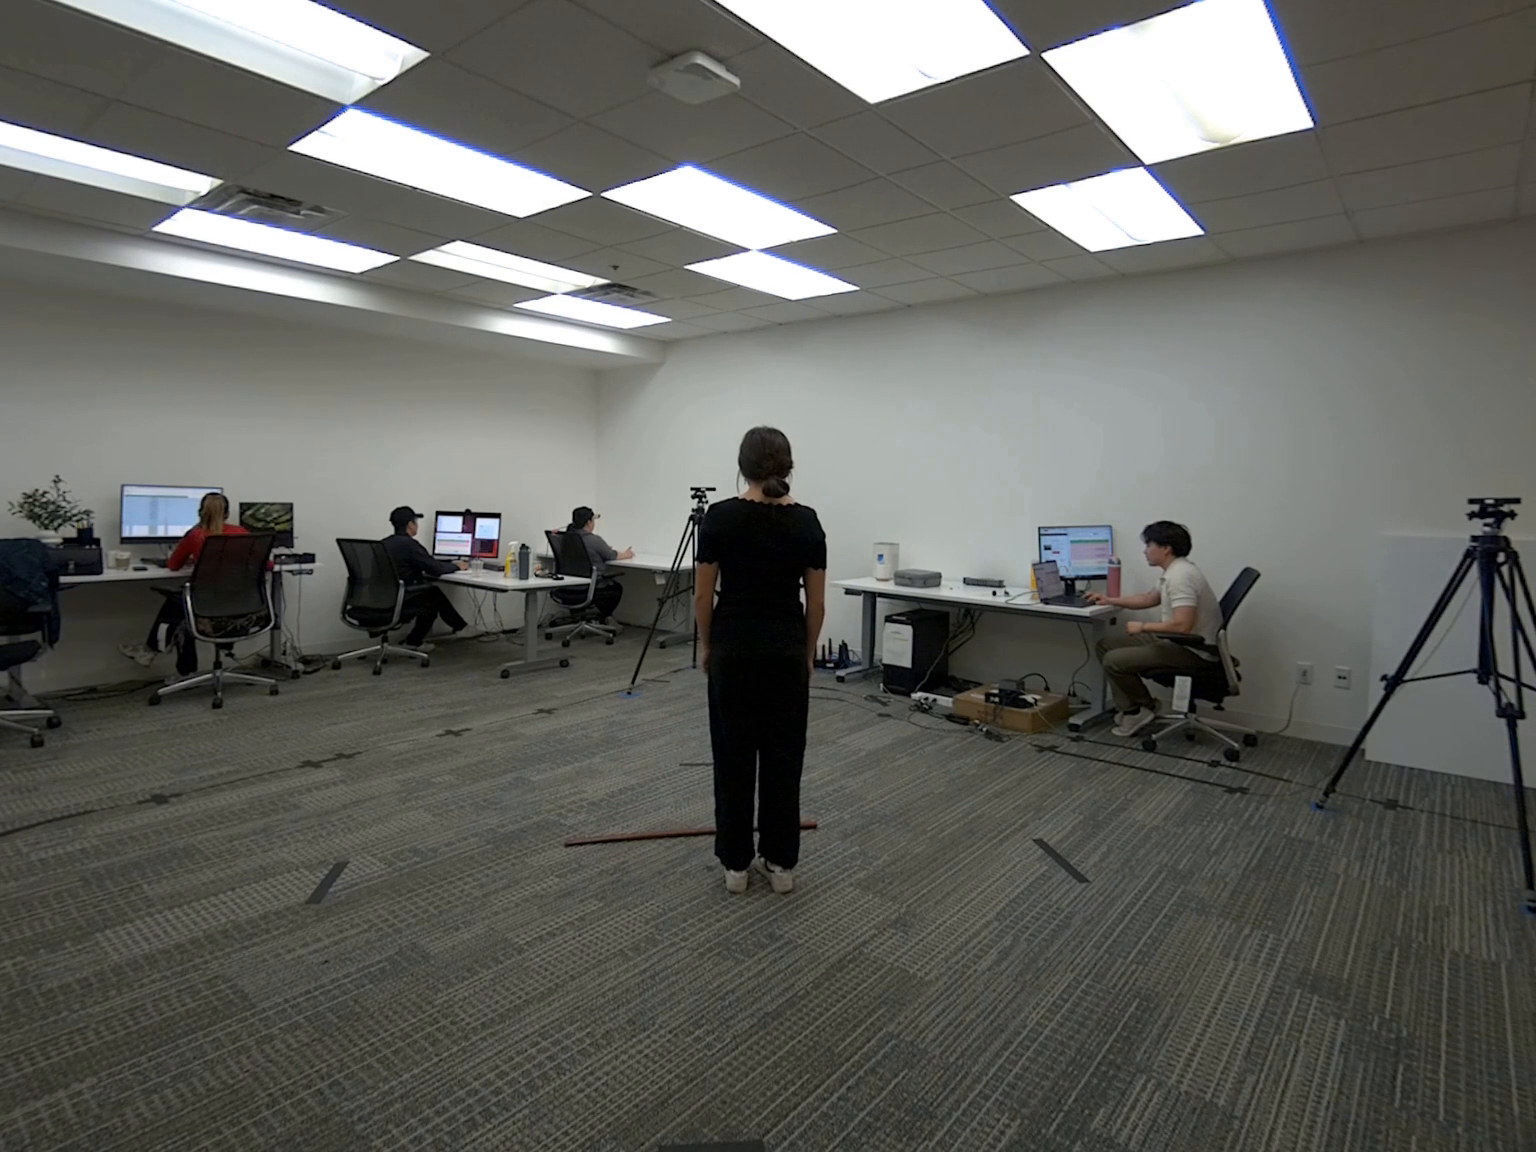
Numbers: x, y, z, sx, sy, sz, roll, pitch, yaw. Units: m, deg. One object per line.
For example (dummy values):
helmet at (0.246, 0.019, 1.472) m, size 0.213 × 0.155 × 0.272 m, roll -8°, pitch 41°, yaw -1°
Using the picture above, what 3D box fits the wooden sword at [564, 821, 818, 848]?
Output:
wooden sword at (-0.310, 1.018, 3.396) m, size 1.012 × 0.053 × 0.023 m, roll -1°, pitch -40°, yaw -12°
